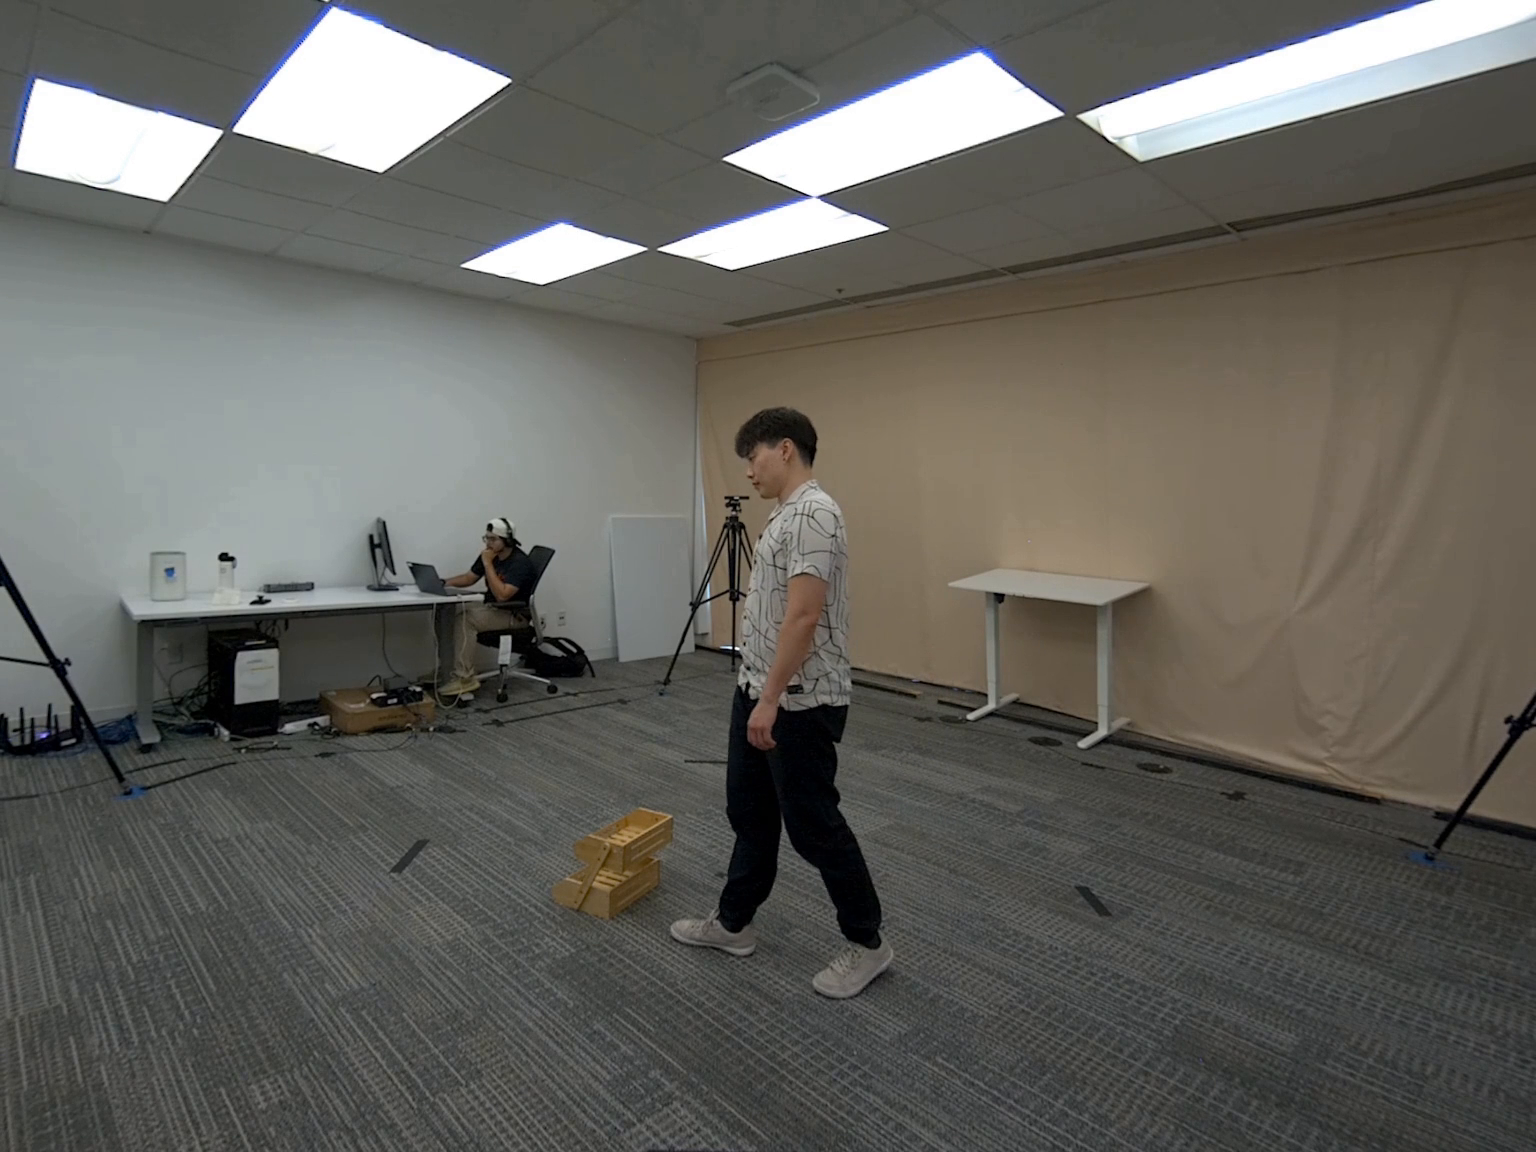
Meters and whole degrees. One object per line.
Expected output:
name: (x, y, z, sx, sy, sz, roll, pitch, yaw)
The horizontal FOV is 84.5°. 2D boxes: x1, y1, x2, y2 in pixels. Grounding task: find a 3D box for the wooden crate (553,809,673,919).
wooden crate: (-0.549, 0.980, 2.926, 0.308, 0.272, 0.319, 4, 5, 27)
